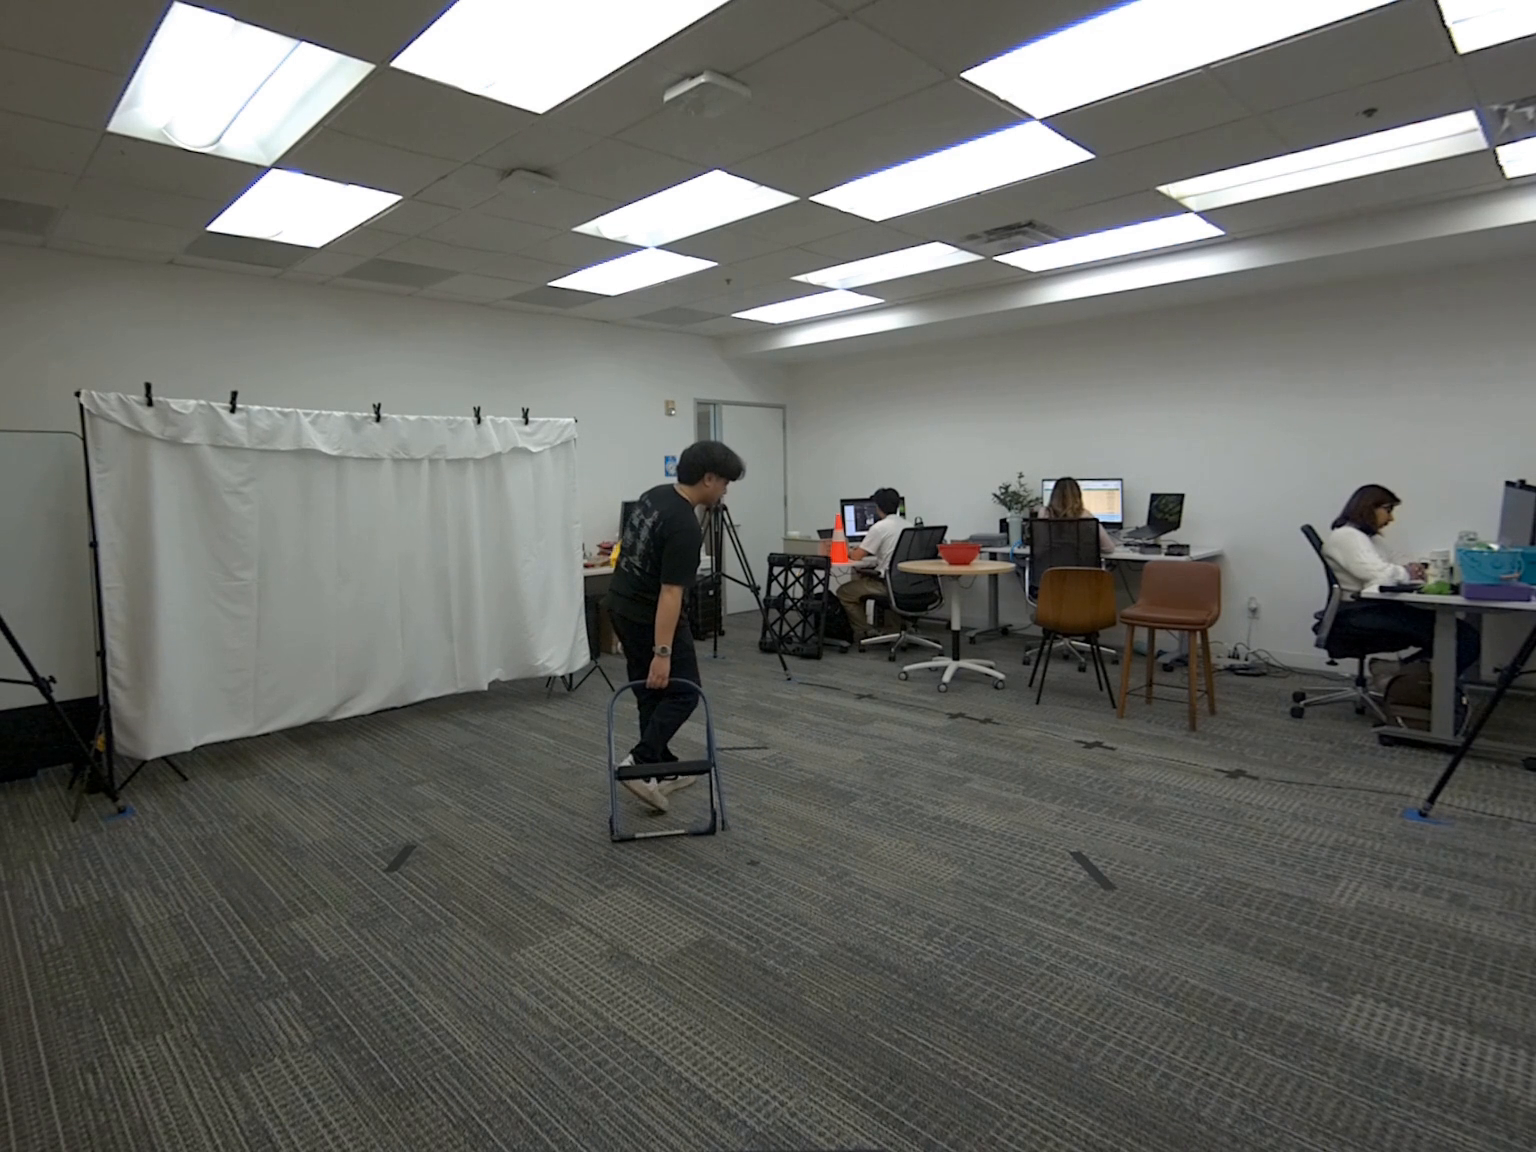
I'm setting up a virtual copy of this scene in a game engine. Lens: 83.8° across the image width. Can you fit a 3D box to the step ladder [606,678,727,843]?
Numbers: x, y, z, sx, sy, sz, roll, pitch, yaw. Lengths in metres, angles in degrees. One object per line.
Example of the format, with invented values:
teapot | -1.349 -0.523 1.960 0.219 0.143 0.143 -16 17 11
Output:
step ladder | -0.404 0.690 3.295 0.426 0.618 0.346 -2 -21 -11
